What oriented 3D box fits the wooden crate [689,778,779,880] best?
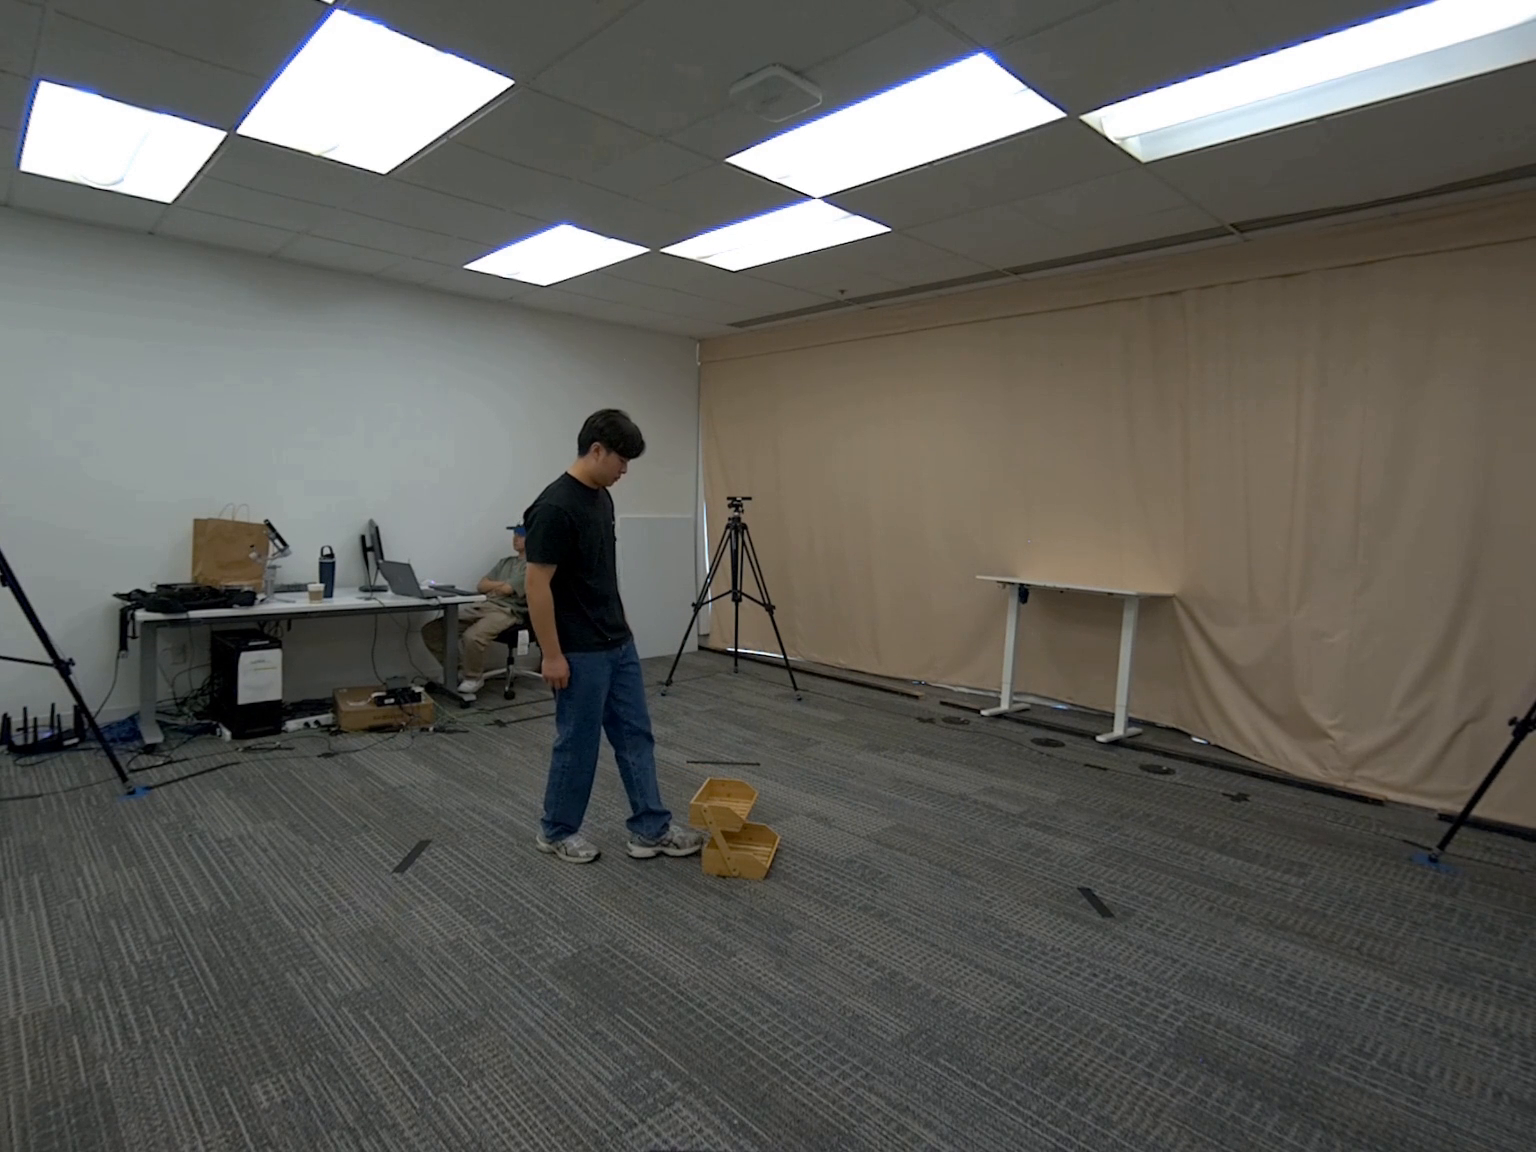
[{"bbox_3d":[-0.131,0.963,3.244,0.305,0.273,0.322,2,4,11],"label":"wooden crate"}]
